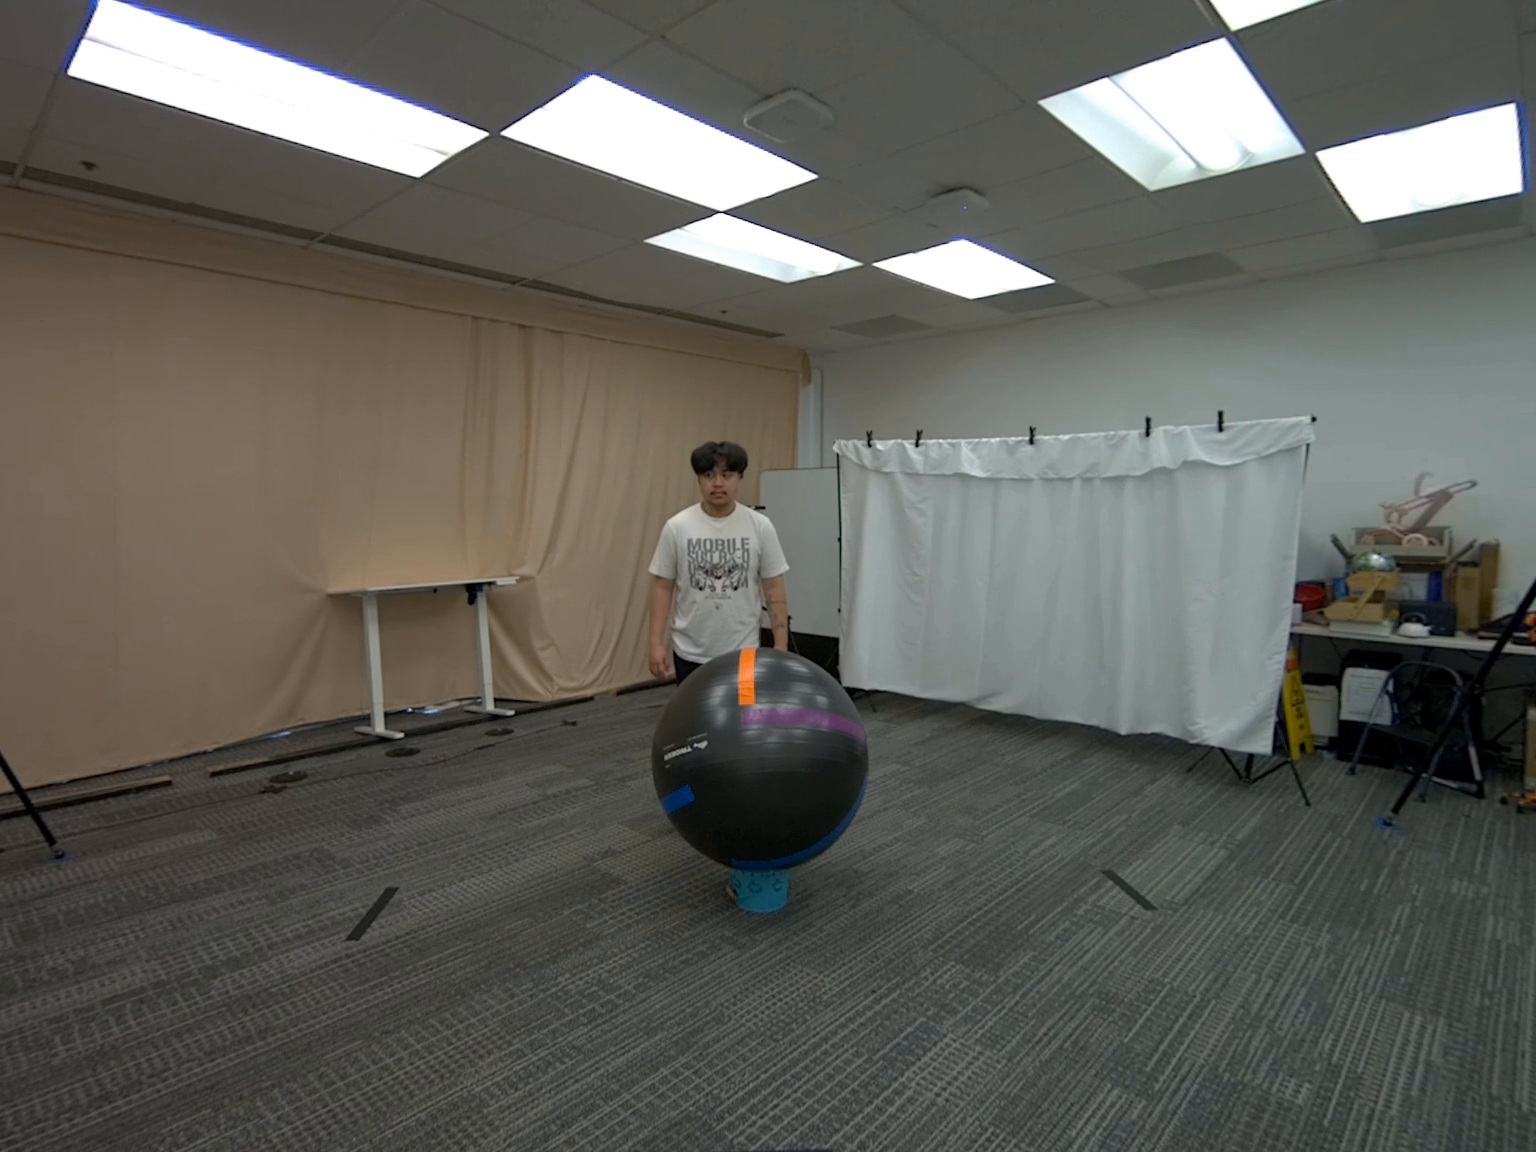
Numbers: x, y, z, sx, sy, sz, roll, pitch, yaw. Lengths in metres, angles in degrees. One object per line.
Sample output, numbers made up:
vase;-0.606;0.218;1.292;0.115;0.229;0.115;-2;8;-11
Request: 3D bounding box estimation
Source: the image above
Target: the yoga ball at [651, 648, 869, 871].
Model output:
yoga ball;-0.032;0.637;2.949;0.757;0.756;0.761;0;4;-2
